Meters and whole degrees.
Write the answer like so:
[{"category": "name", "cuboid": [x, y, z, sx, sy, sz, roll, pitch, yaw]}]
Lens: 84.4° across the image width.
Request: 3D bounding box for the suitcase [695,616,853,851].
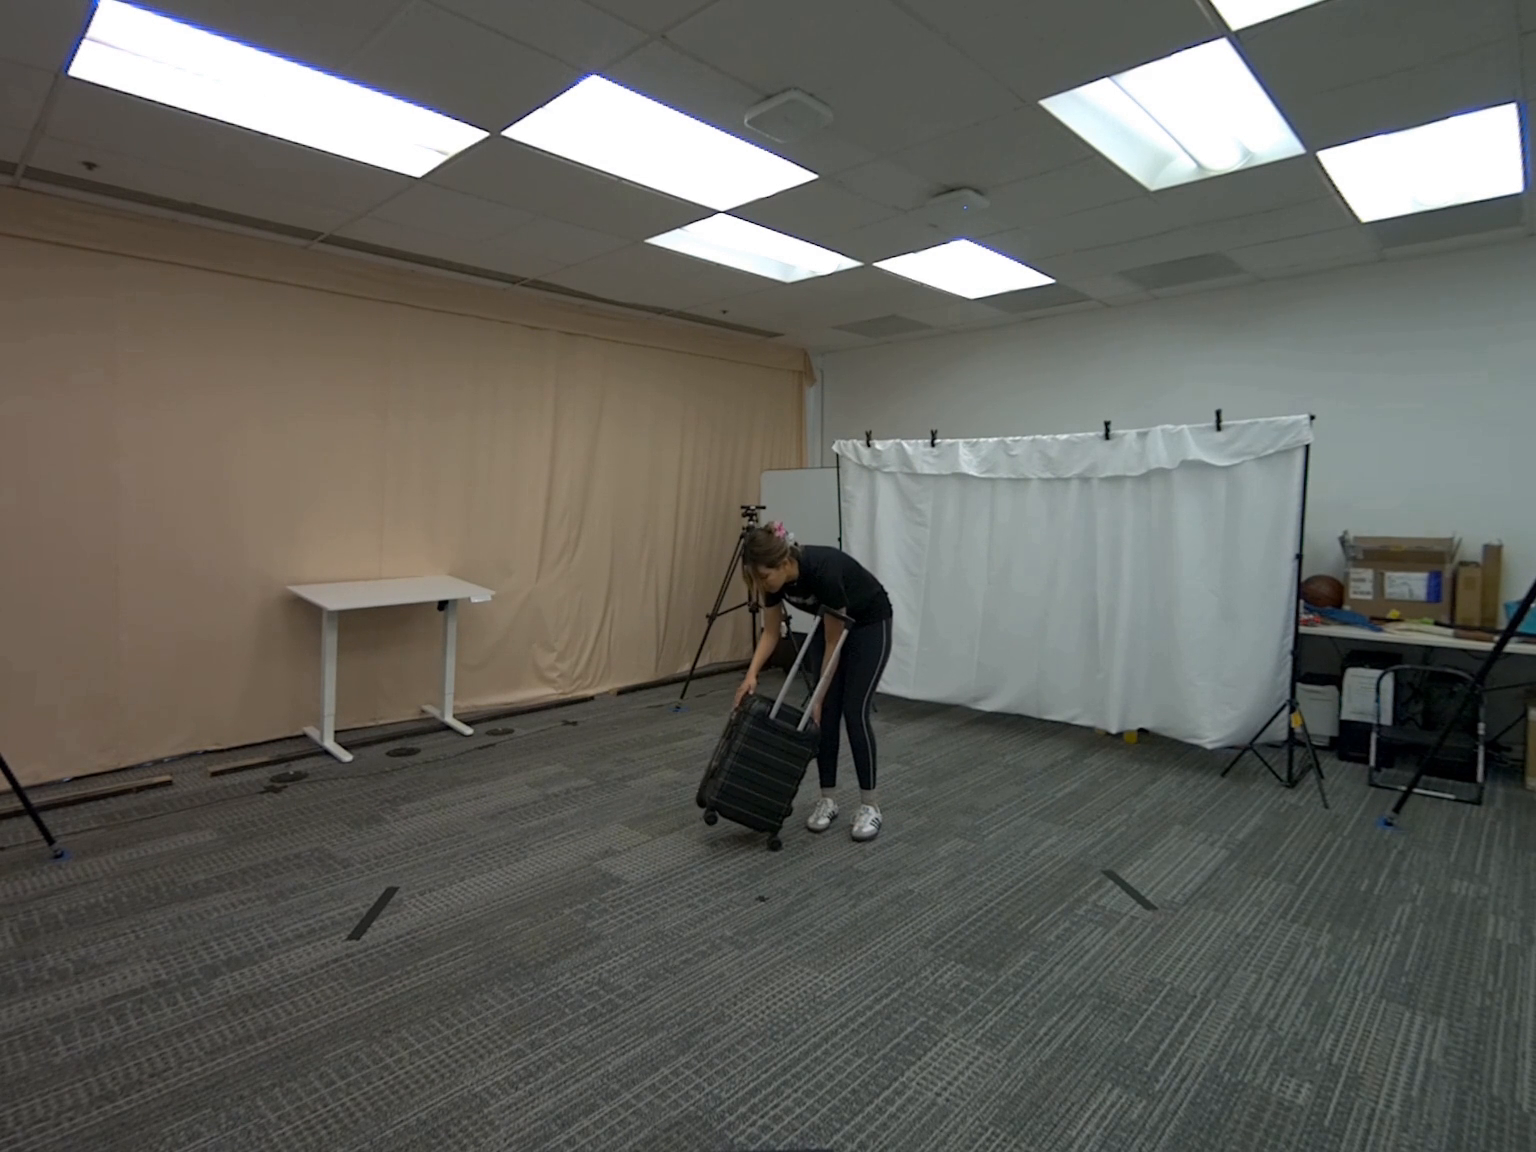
[{"category": "suitcase", "cuboid": [0.043, 0.589, 3.490, 0.379, 0.979, 0.260, 23, -2, -10]}]
